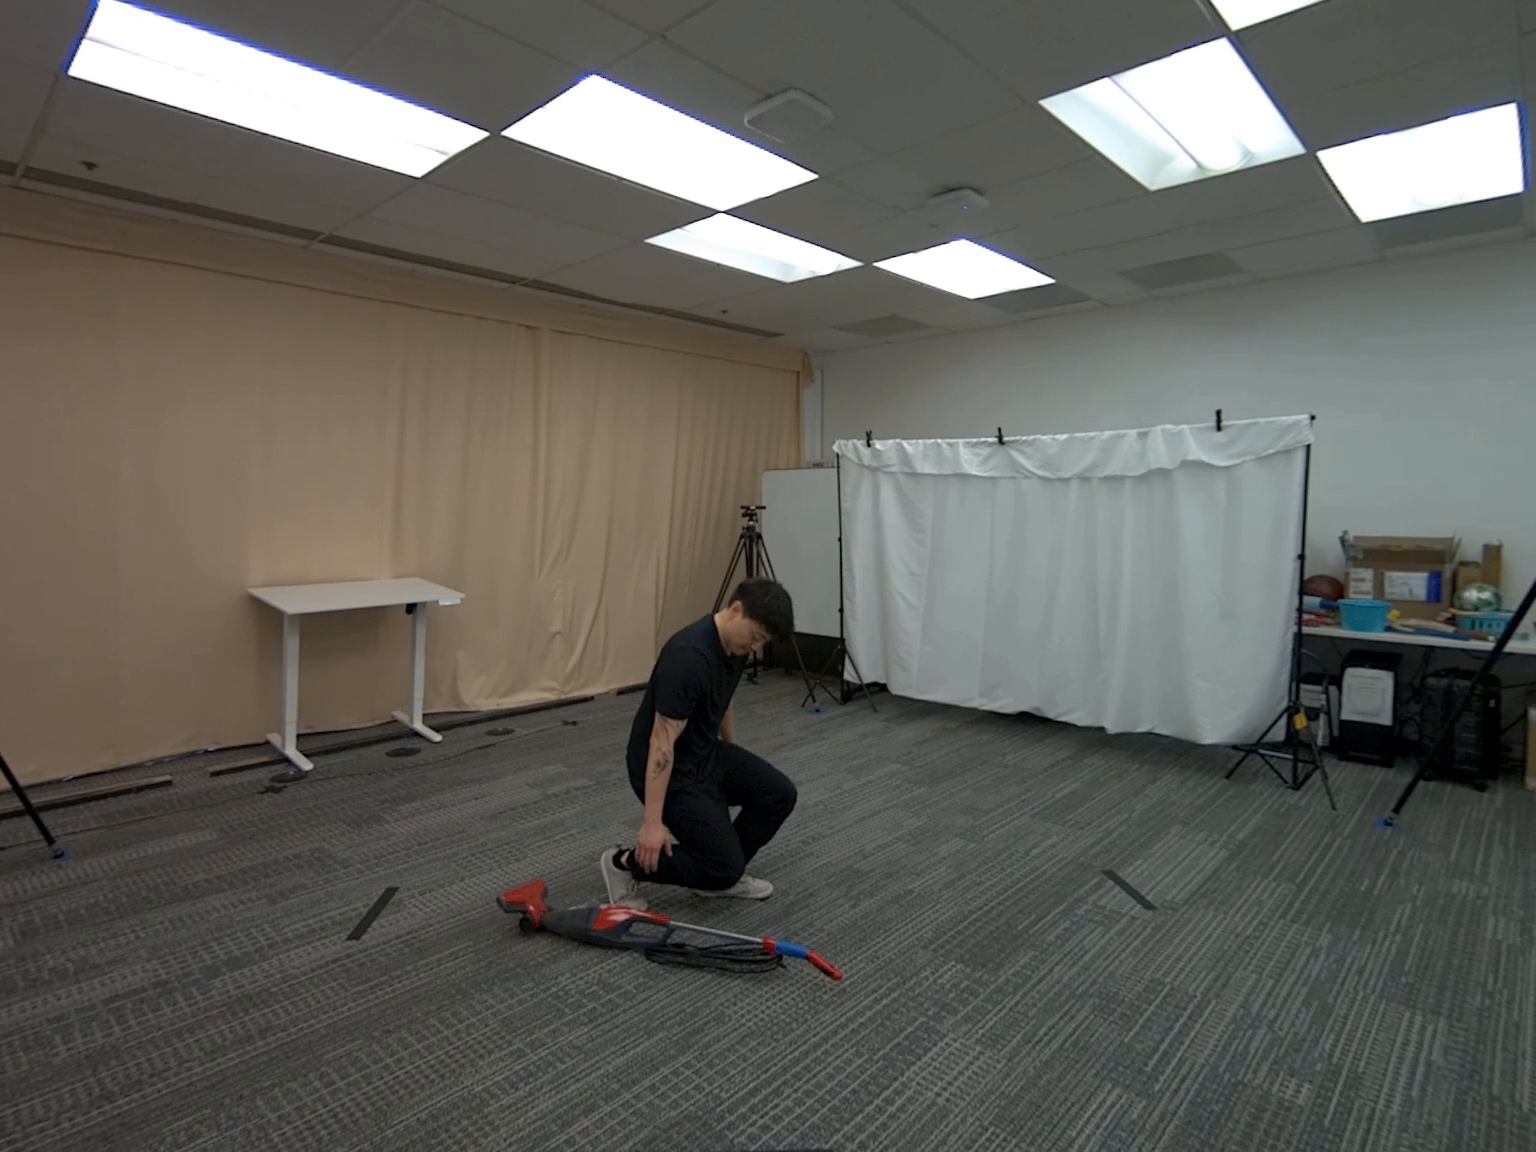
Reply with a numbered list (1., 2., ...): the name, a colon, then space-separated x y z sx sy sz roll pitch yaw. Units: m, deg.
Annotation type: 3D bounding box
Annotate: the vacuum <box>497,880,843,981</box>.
1. vacuum: -0.297 1.118 2.598 1.073 0.144 0.246 3 -8 21
